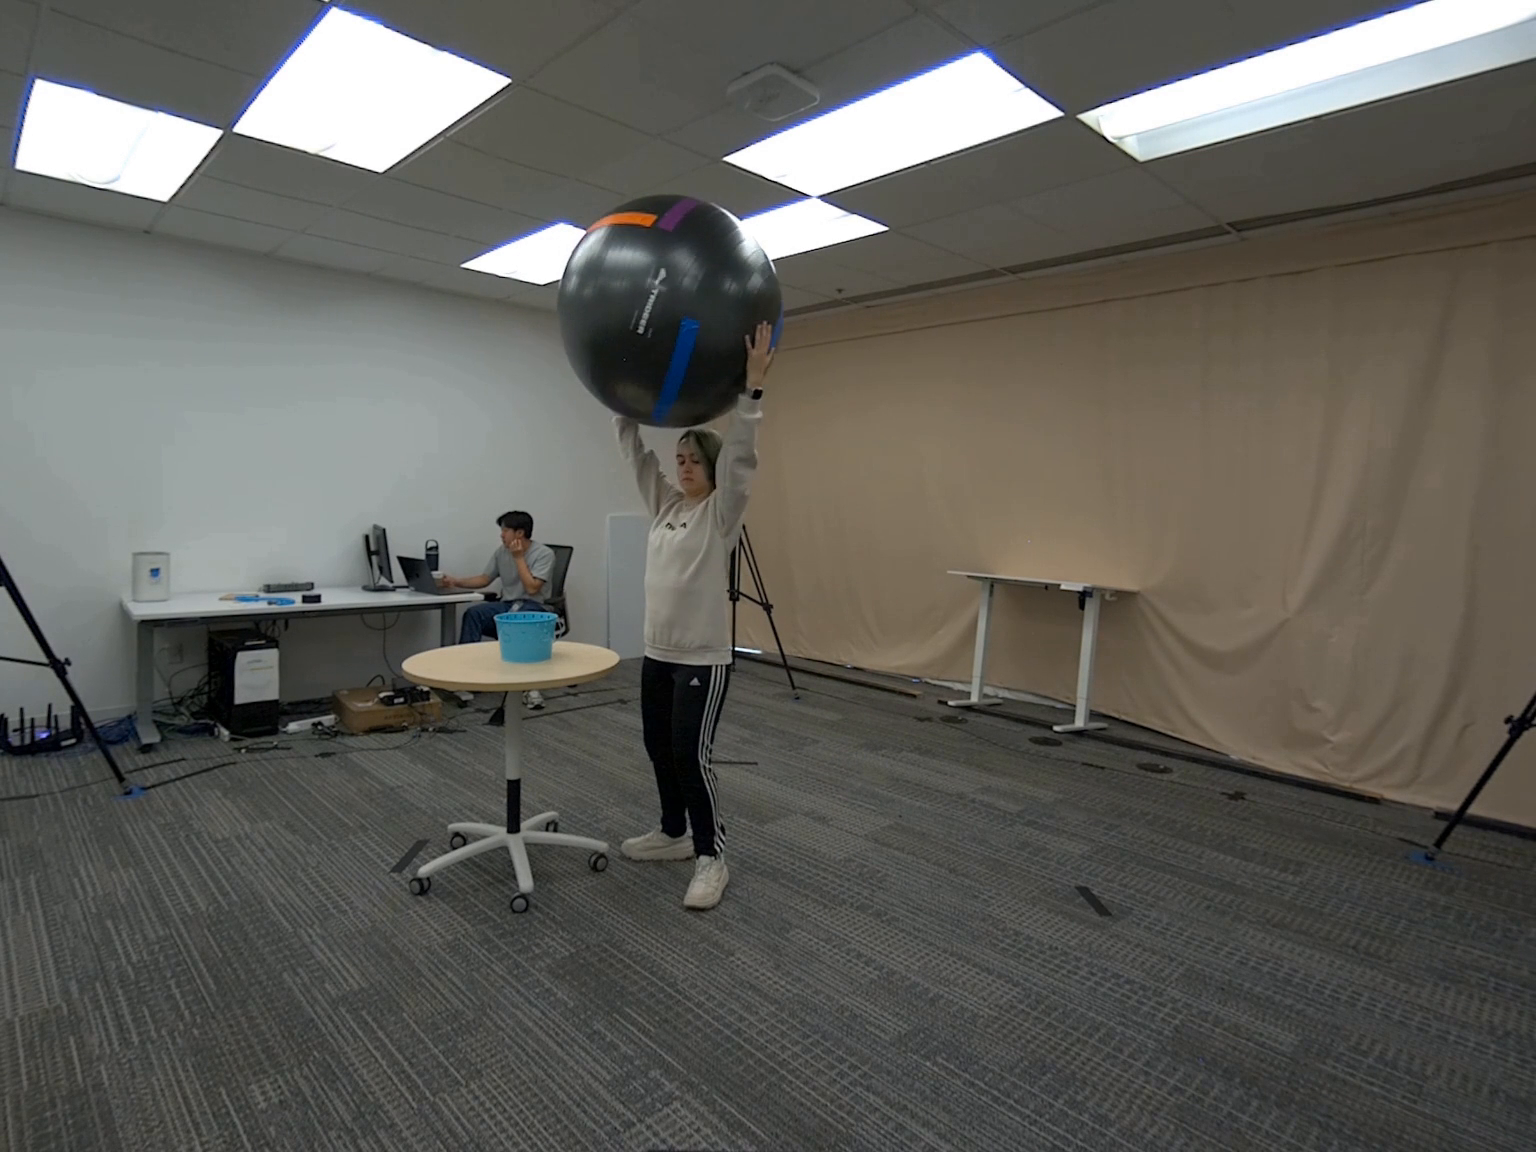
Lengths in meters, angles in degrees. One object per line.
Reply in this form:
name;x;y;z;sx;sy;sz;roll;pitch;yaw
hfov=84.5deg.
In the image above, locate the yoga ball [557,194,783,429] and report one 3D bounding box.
yoga ball;-0.333;-0.877;2.844;0.757;0.756;0.761;1;4;-1
